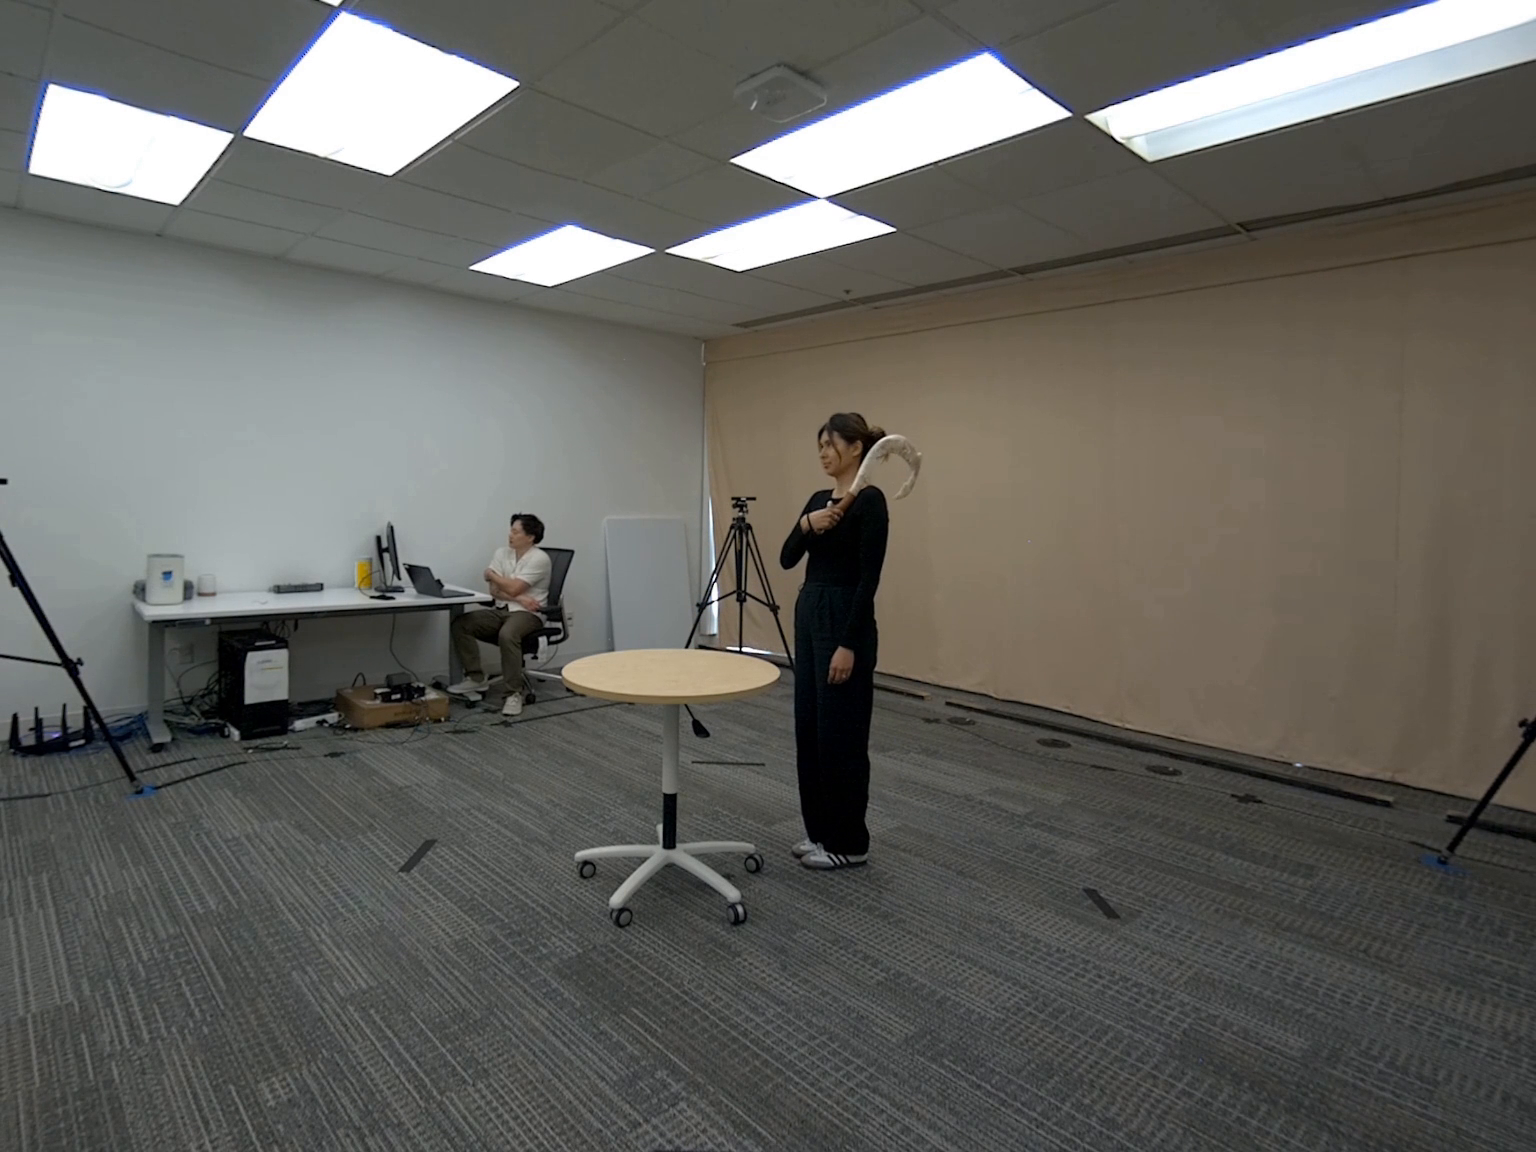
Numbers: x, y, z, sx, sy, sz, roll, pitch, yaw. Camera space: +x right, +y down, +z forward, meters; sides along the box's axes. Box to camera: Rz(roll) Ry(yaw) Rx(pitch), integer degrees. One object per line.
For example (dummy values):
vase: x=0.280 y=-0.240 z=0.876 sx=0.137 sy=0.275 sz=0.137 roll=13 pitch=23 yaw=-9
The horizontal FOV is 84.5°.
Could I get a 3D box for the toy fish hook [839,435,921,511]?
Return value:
toy fish hook: x=0.367 y=-0.311 z=3.129 sx=0.223 sy=0.506 sz=0.049 roll=43 pitch=-9 yaw=-7
